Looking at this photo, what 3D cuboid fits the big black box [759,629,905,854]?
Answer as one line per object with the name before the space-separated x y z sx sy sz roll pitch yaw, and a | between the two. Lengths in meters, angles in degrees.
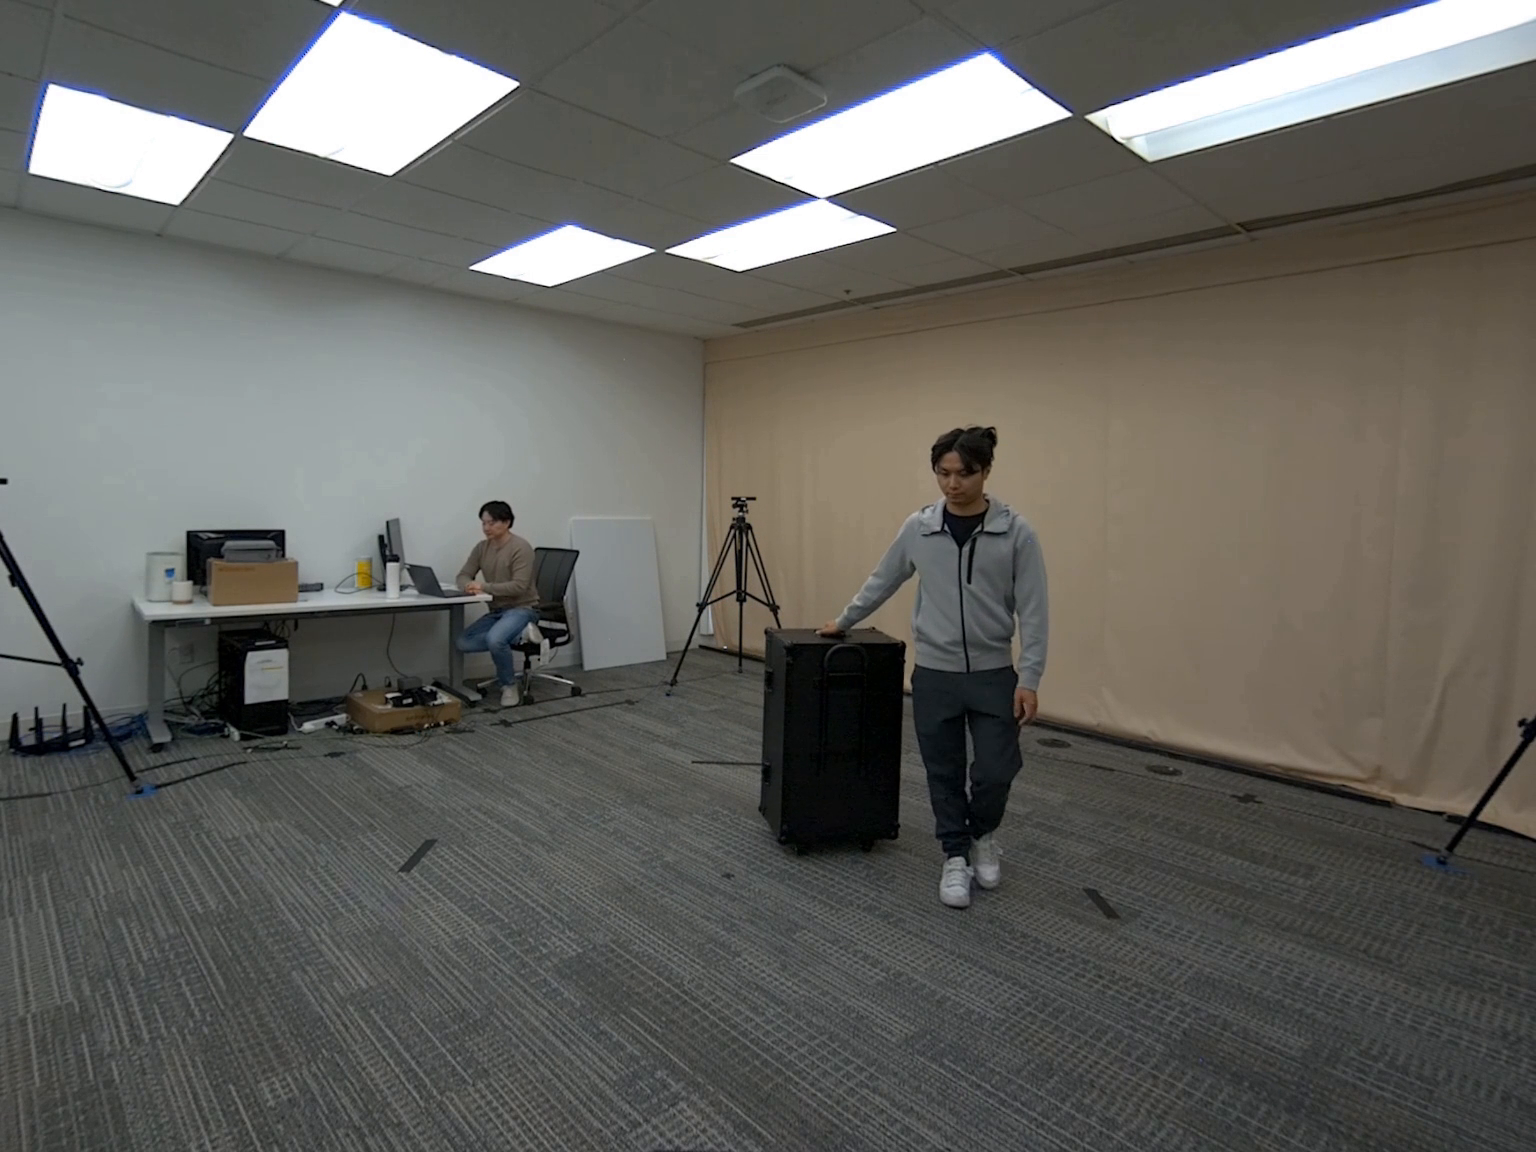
big black box | 0.247 0.665 3.420 0.517 0.858 0.401 1 5 -11
